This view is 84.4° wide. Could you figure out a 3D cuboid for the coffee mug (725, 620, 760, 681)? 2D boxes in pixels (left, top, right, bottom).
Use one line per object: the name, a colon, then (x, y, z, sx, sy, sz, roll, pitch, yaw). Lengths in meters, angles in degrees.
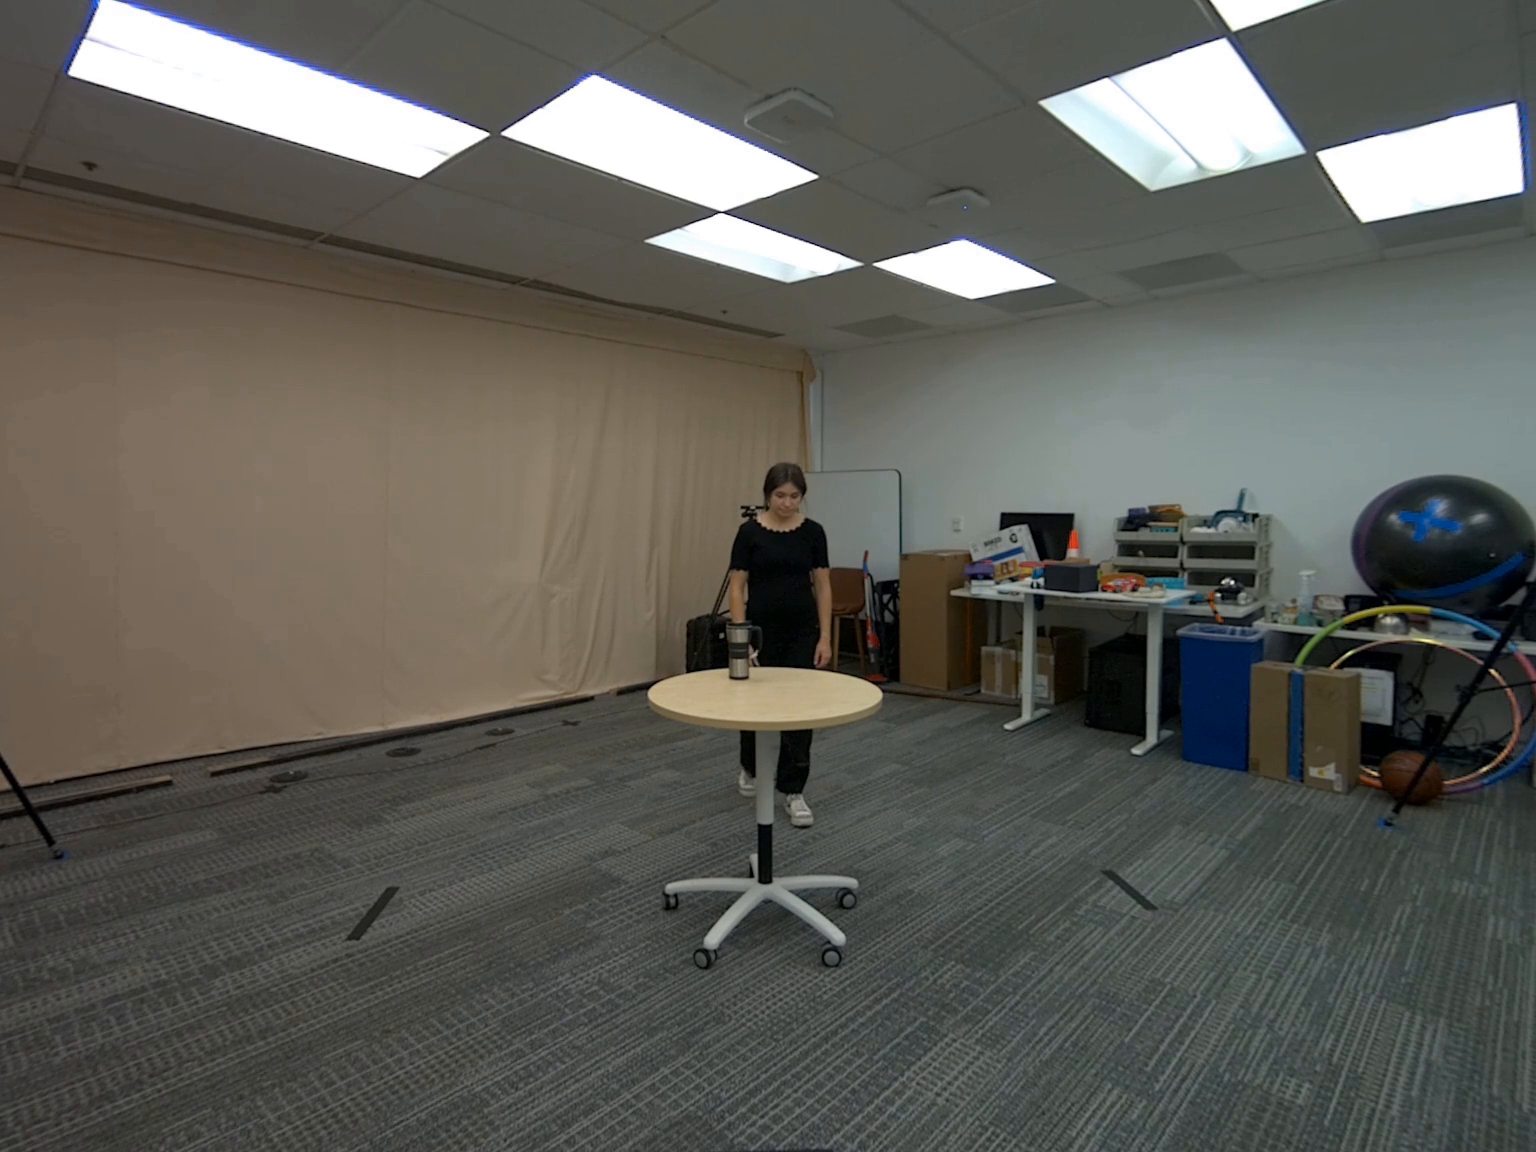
coffee mug: (-0.083, 0.263, 2.953, 0.126, 0.203, 0.085, -3, -3, 39)
